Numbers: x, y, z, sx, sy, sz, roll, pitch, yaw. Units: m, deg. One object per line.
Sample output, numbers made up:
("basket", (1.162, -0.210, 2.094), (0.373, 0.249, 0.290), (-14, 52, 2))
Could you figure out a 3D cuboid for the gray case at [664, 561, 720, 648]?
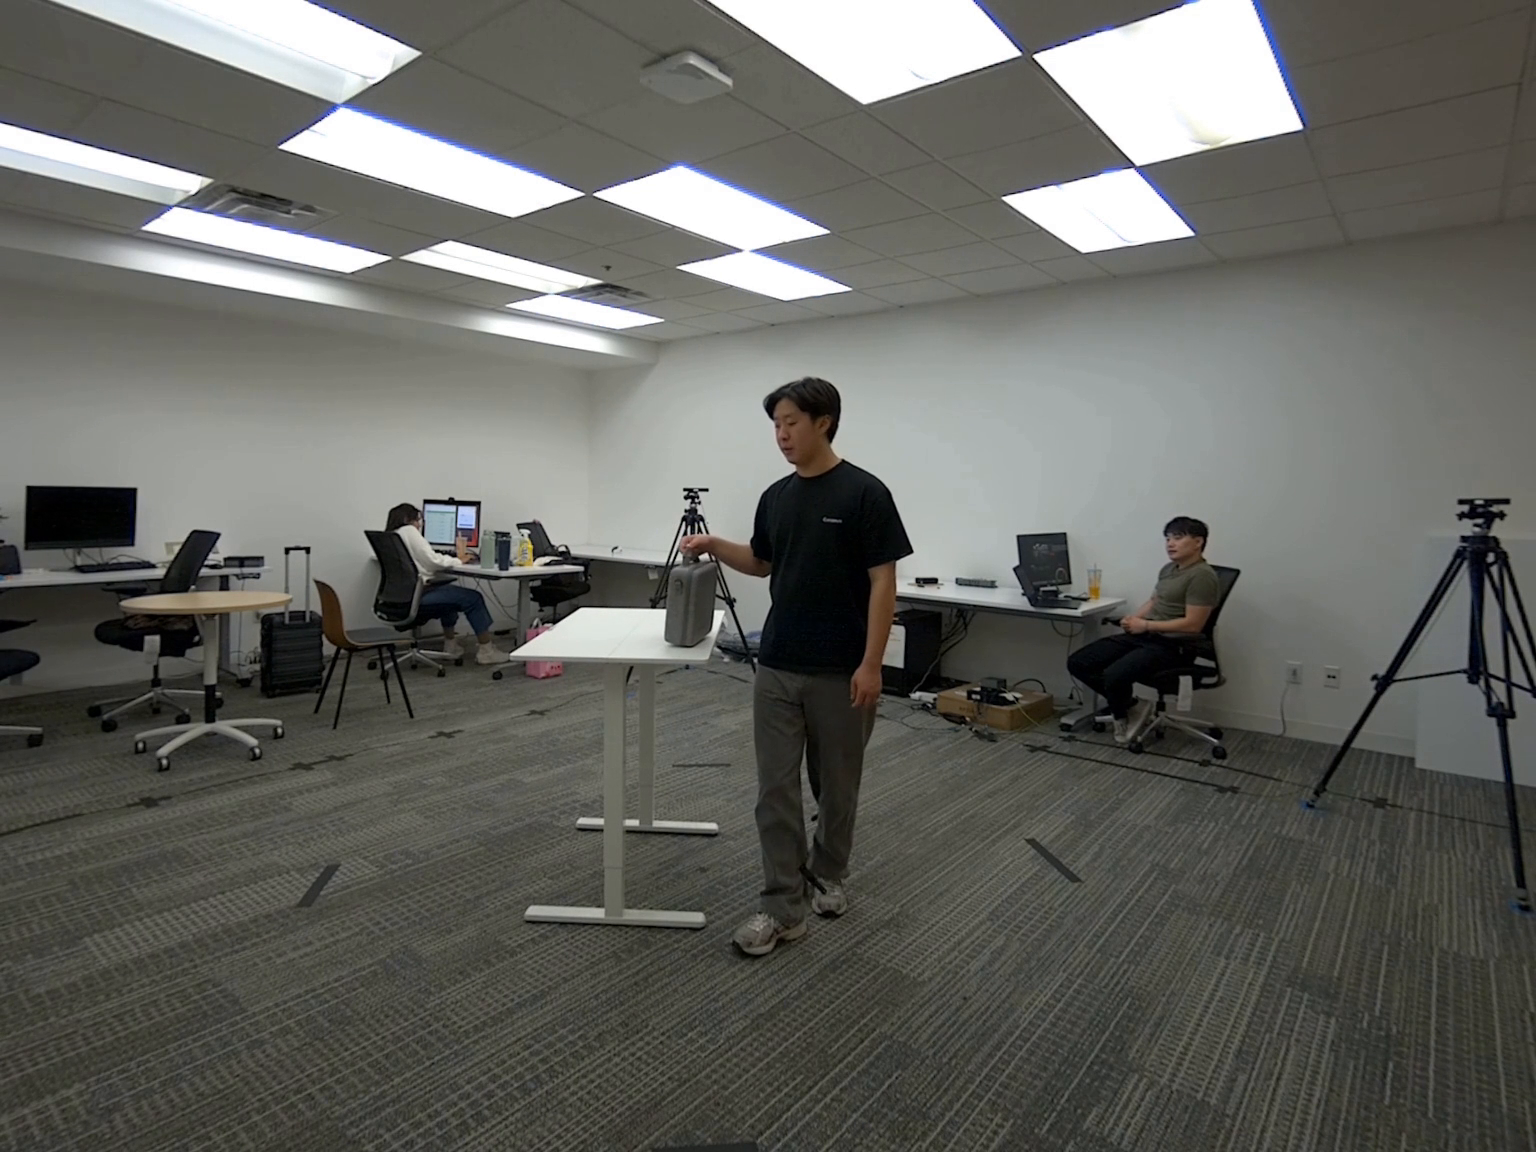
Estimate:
("gray case", (-0.267, 0.067, 2.806), (0.105, 0.285, 0.261), (4, 8, 13))
